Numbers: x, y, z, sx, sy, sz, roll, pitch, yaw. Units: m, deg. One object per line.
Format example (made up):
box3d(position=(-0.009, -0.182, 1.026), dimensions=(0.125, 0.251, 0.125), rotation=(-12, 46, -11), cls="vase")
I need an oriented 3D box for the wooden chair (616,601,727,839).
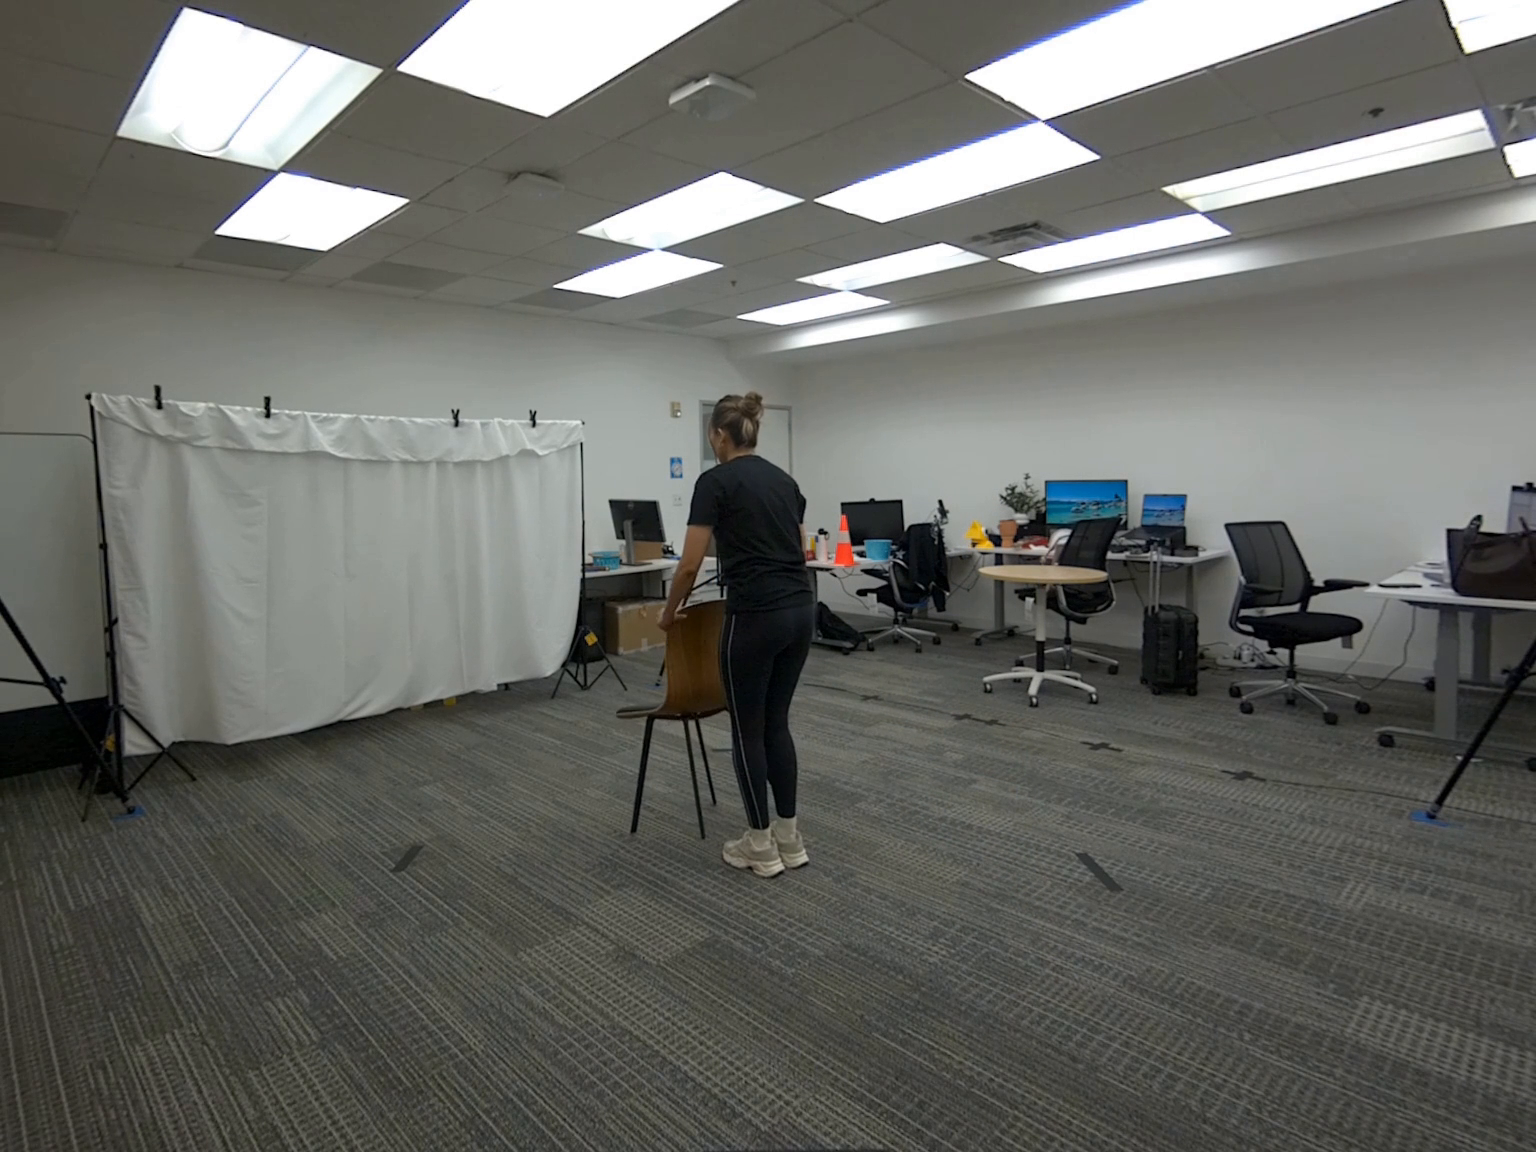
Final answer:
box3d(position=(-0.318, 0.552, 3.435), dimensions=(0.465, 0.880, 0.535), rotation=(-5, -3, -44), cls="wooden chair")
